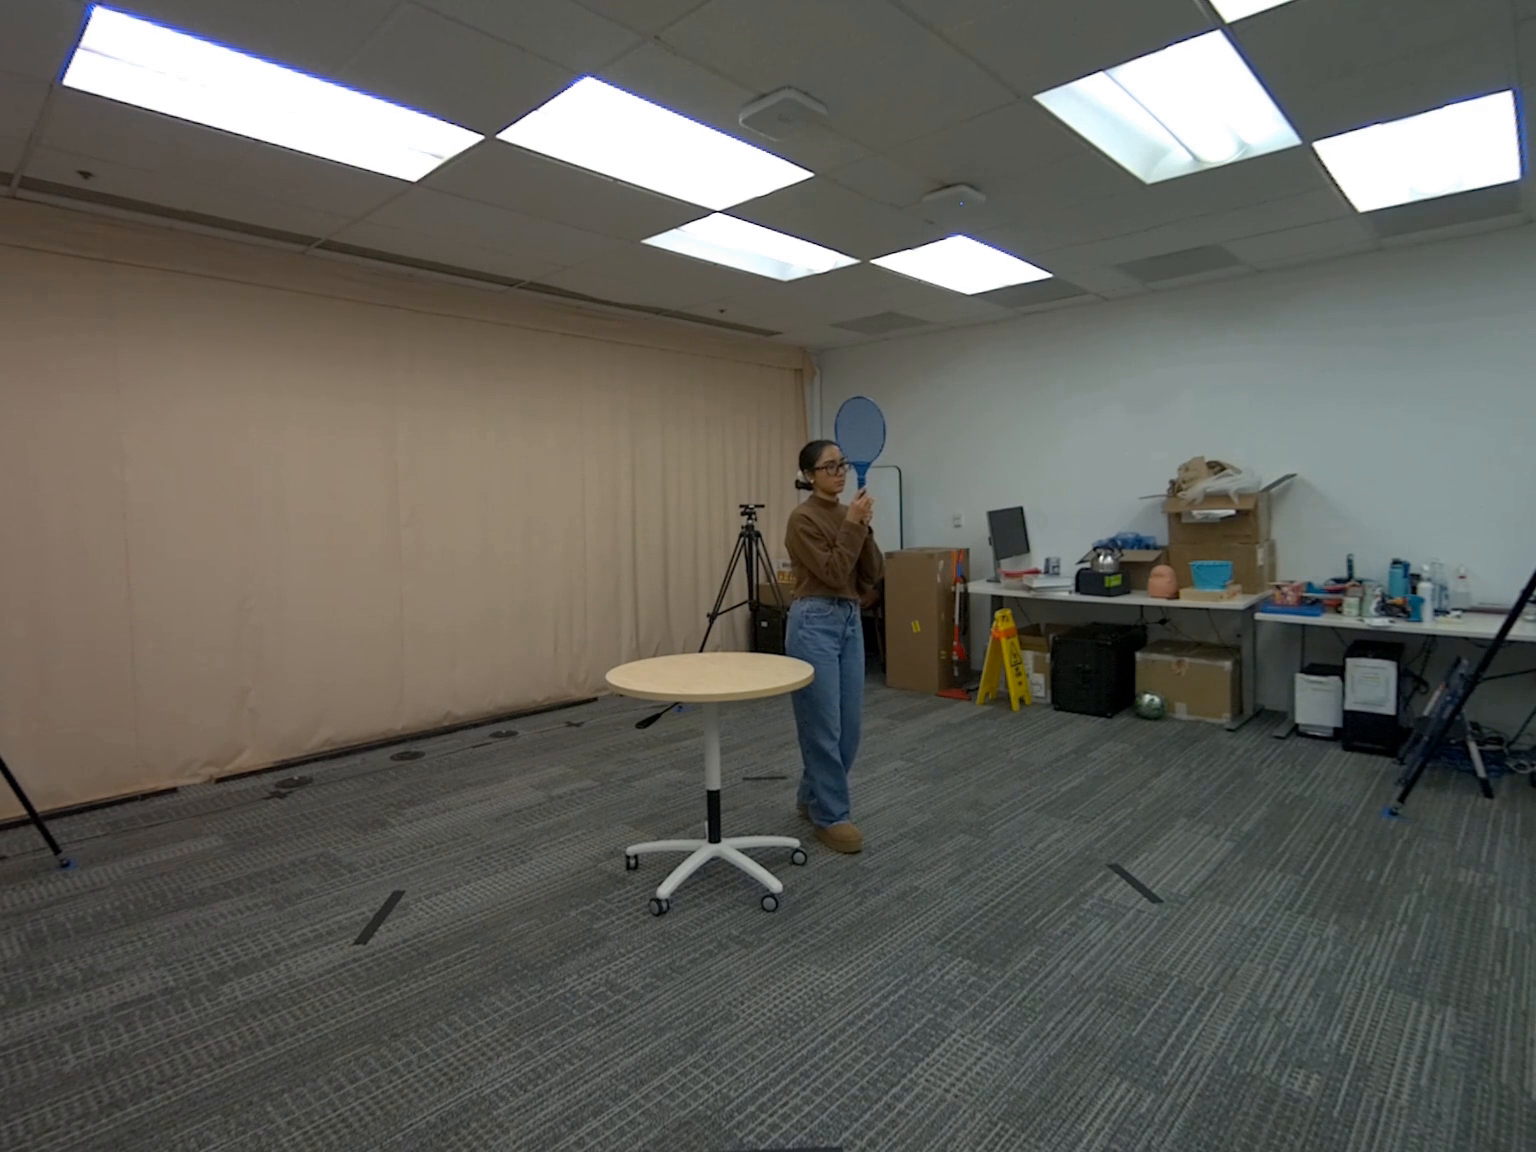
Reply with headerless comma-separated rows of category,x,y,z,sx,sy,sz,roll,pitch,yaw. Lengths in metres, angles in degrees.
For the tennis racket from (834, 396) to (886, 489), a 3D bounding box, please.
tennis racket,0.364,-0.481,3.279,0.220,0.429,0.031,6,15,32
